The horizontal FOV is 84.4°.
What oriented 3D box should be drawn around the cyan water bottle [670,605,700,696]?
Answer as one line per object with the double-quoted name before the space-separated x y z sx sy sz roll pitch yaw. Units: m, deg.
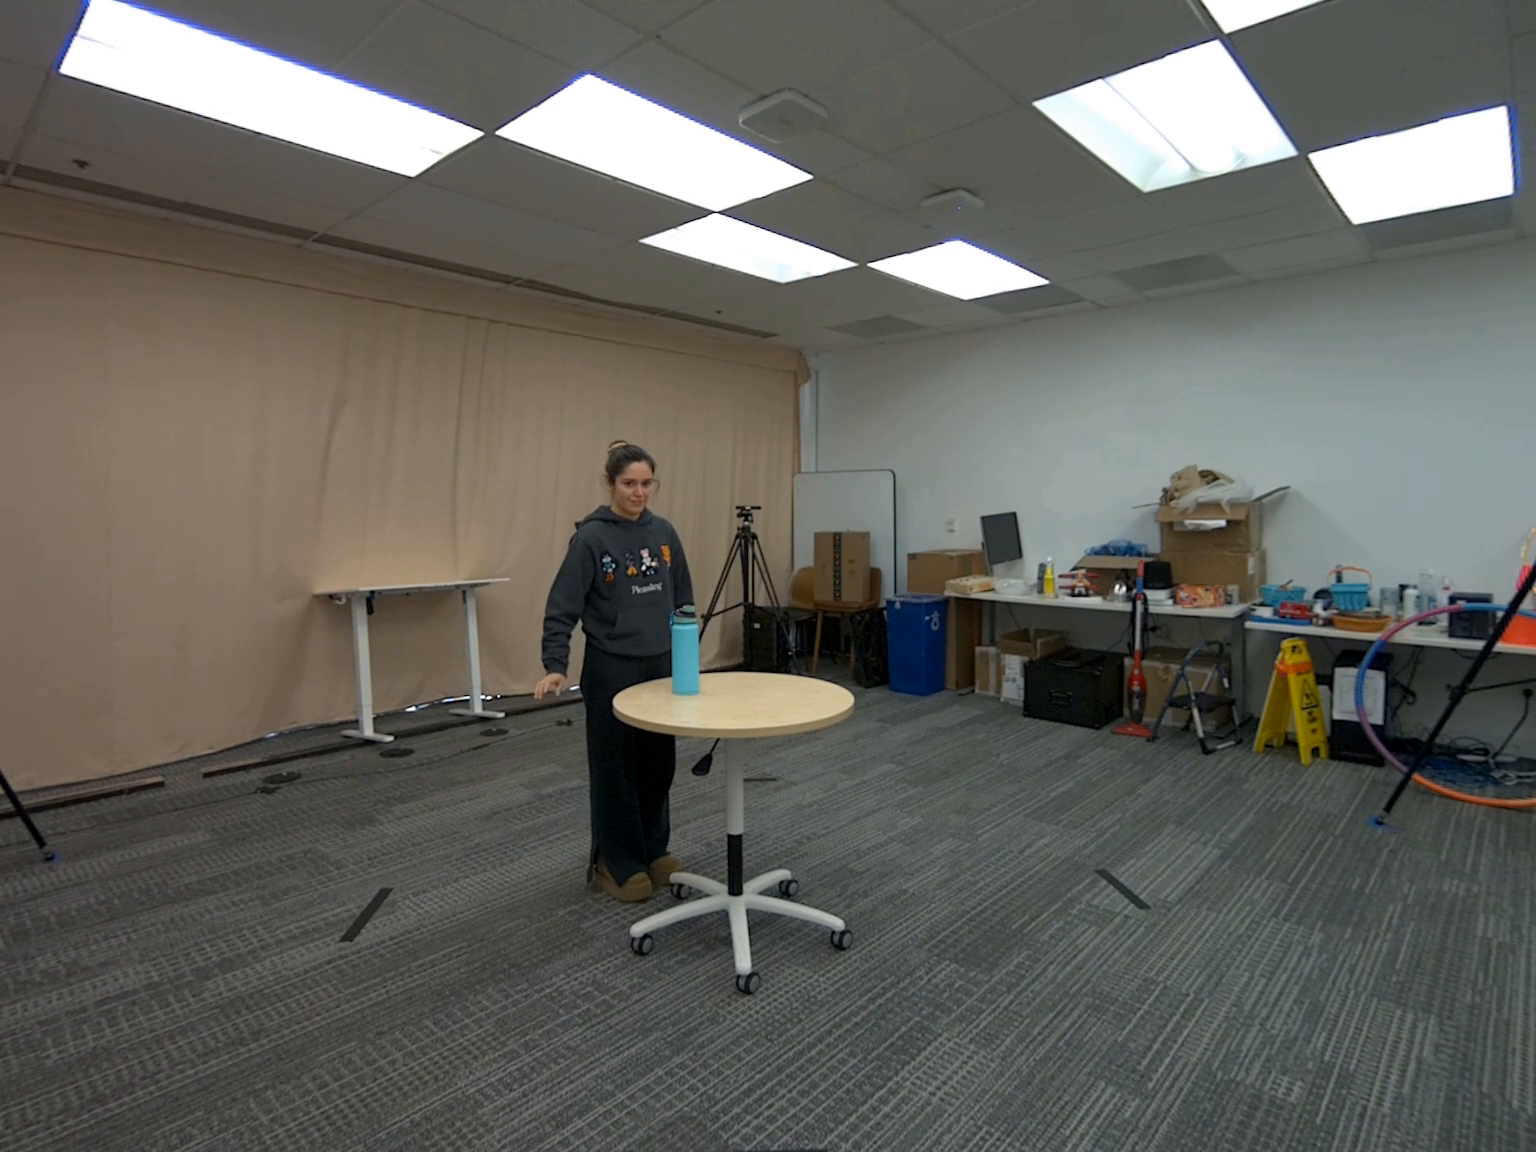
"cyan water bottle" -0.258 0.244 2.759 0.092 0.282 0.092 -4 4 -1
